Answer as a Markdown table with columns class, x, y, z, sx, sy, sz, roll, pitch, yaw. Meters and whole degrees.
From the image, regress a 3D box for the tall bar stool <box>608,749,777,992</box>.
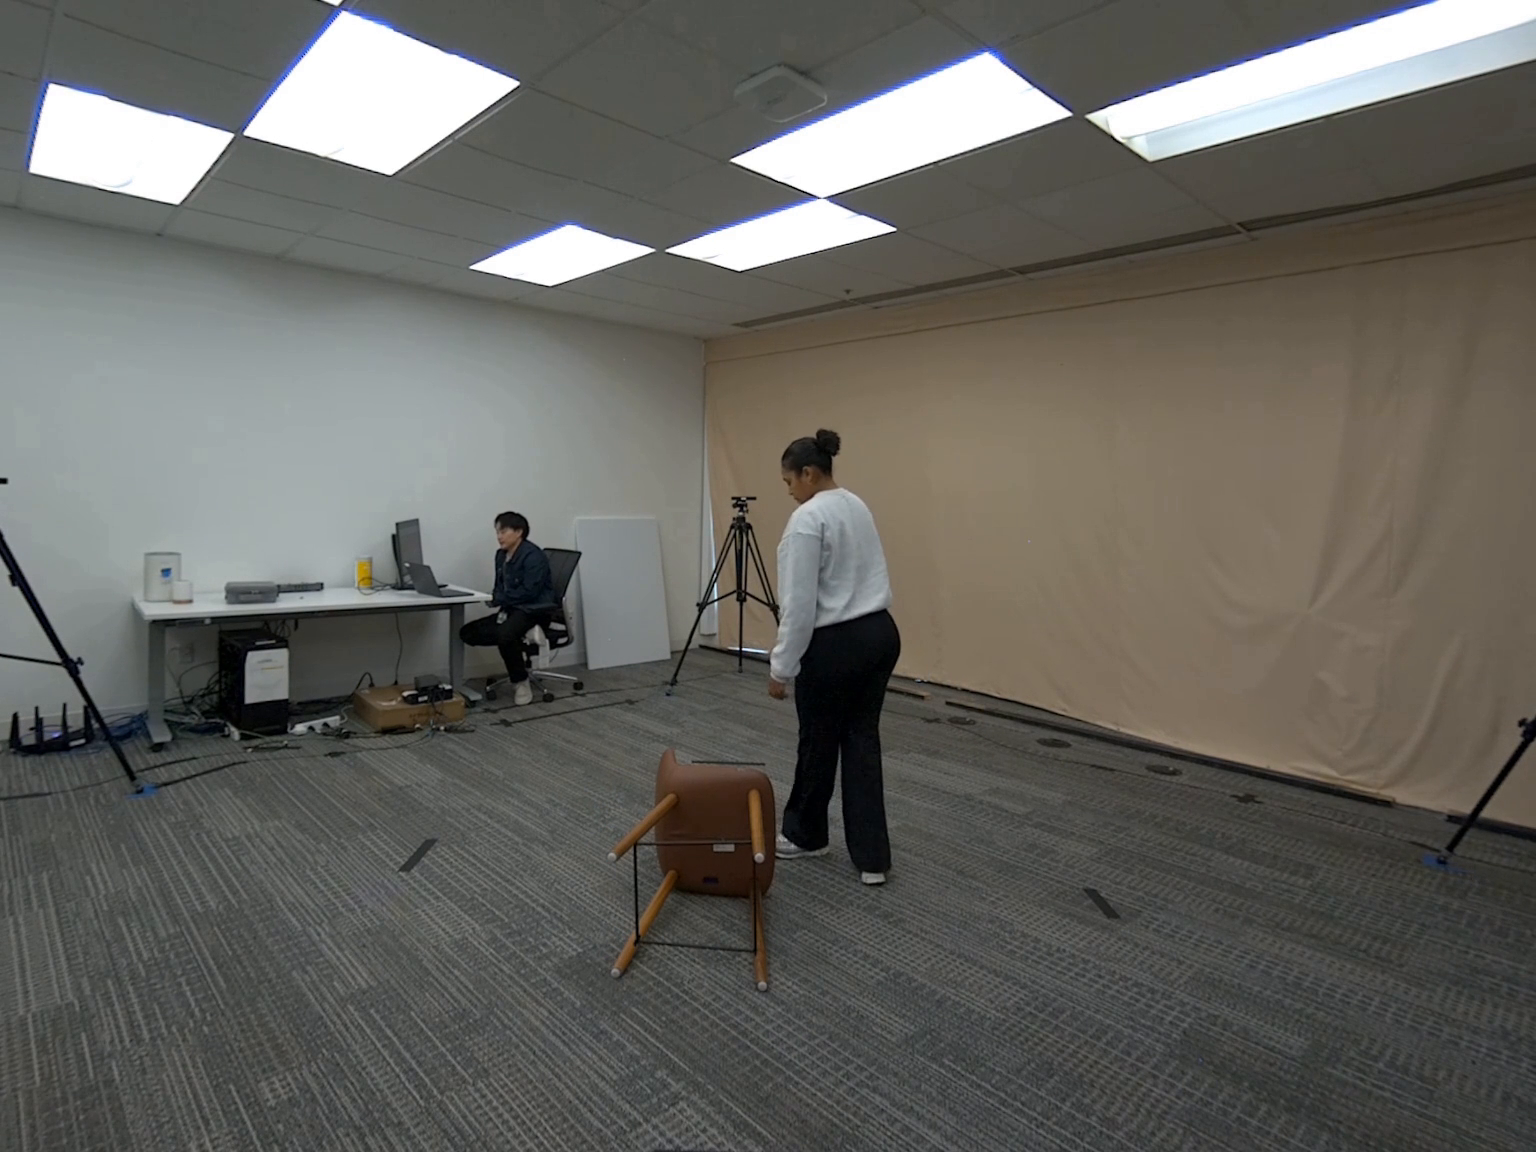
| class | x | y | z | sx | sy | sz | roll | pitch | yaw |
| --- | --- | --- | --- | --- | --- | --- | --- | --- | --- |
| tall bar stool | -0.213 | 0.919 | 2.808 | 0.469 | 0.455 | 0.891 | -1 | 6 | 2 |
